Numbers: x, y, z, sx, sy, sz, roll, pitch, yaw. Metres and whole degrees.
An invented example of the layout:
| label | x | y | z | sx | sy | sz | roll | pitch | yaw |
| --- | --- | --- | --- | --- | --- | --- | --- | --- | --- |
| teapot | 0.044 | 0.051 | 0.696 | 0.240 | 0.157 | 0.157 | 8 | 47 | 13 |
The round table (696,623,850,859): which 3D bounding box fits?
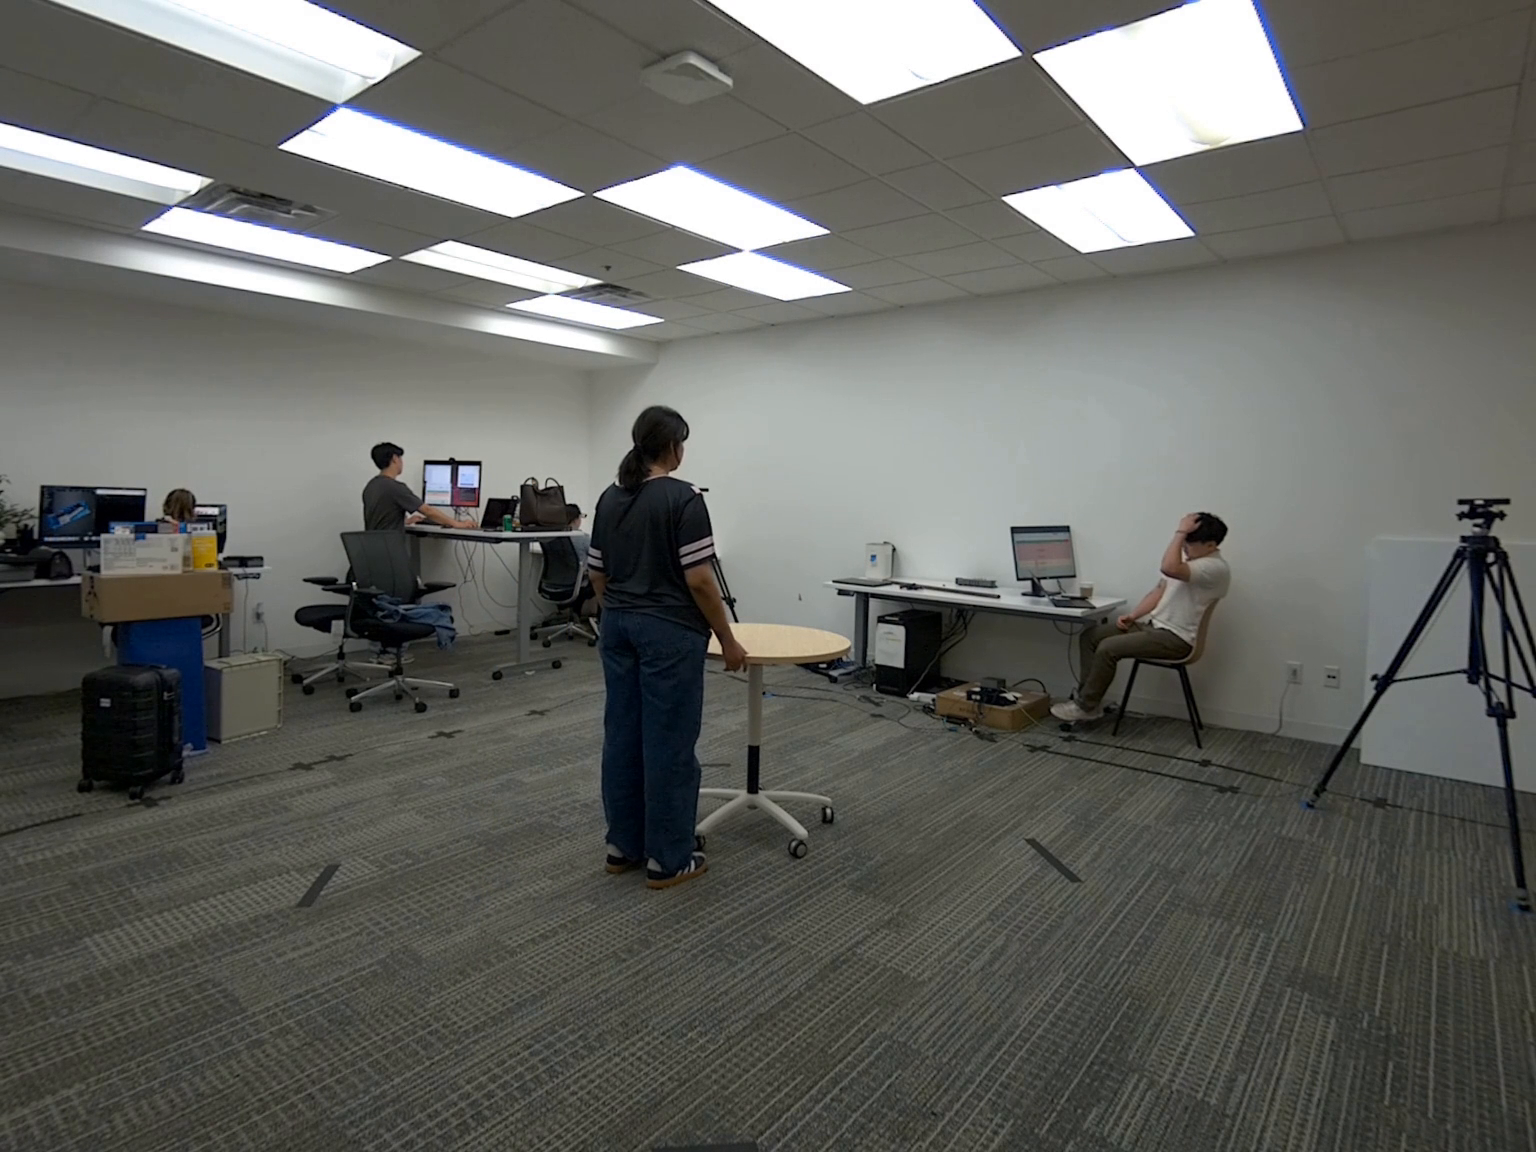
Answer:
| label | x | y | z | sx | sy | sz | roll | pitch | yaw |
| --- | --- | --- | --- | --- | --- | --- | --- | --- | --- |
| round table | -0.077 | 0.640 | 3.500 | 0.784 | 0.784 | 0.789 | 2 | 4 | -2 |
